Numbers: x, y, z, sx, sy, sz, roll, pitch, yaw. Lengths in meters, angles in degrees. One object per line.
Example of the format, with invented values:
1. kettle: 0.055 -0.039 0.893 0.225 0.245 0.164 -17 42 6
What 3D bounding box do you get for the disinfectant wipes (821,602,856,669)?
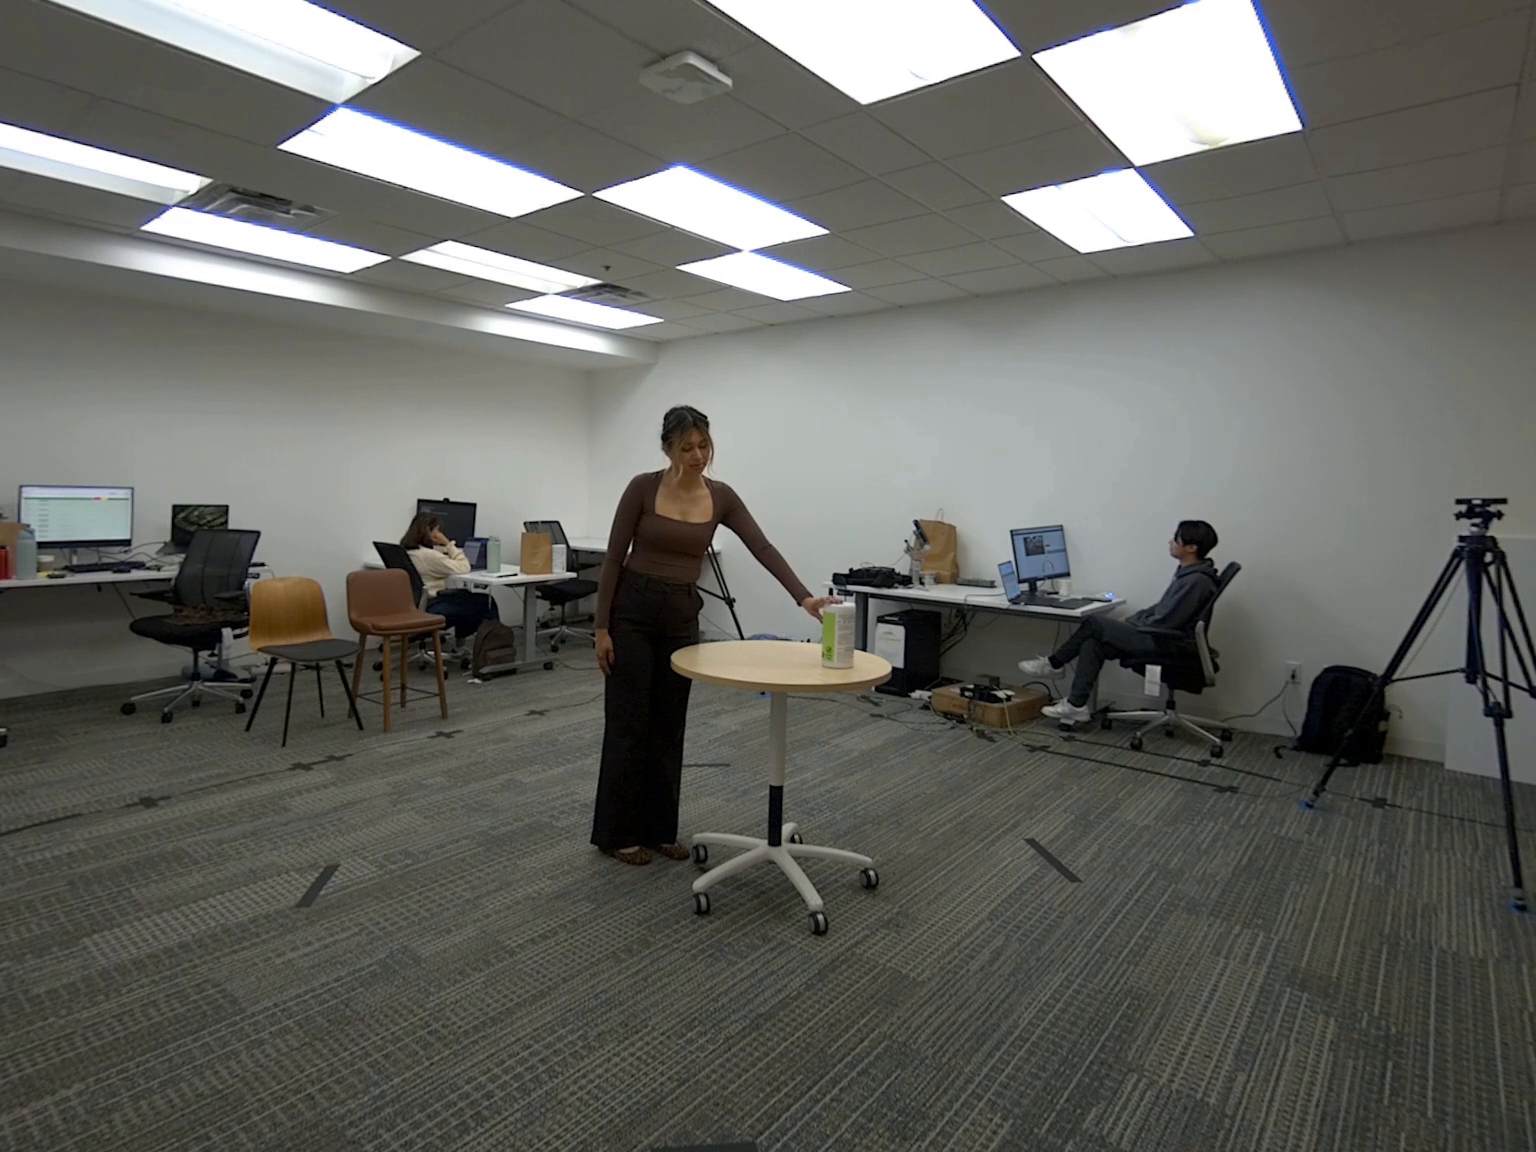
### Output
1. disinfectant wipes: 0.233 0.197 2.890 0.118 0.217 0.118 1 3 -2
